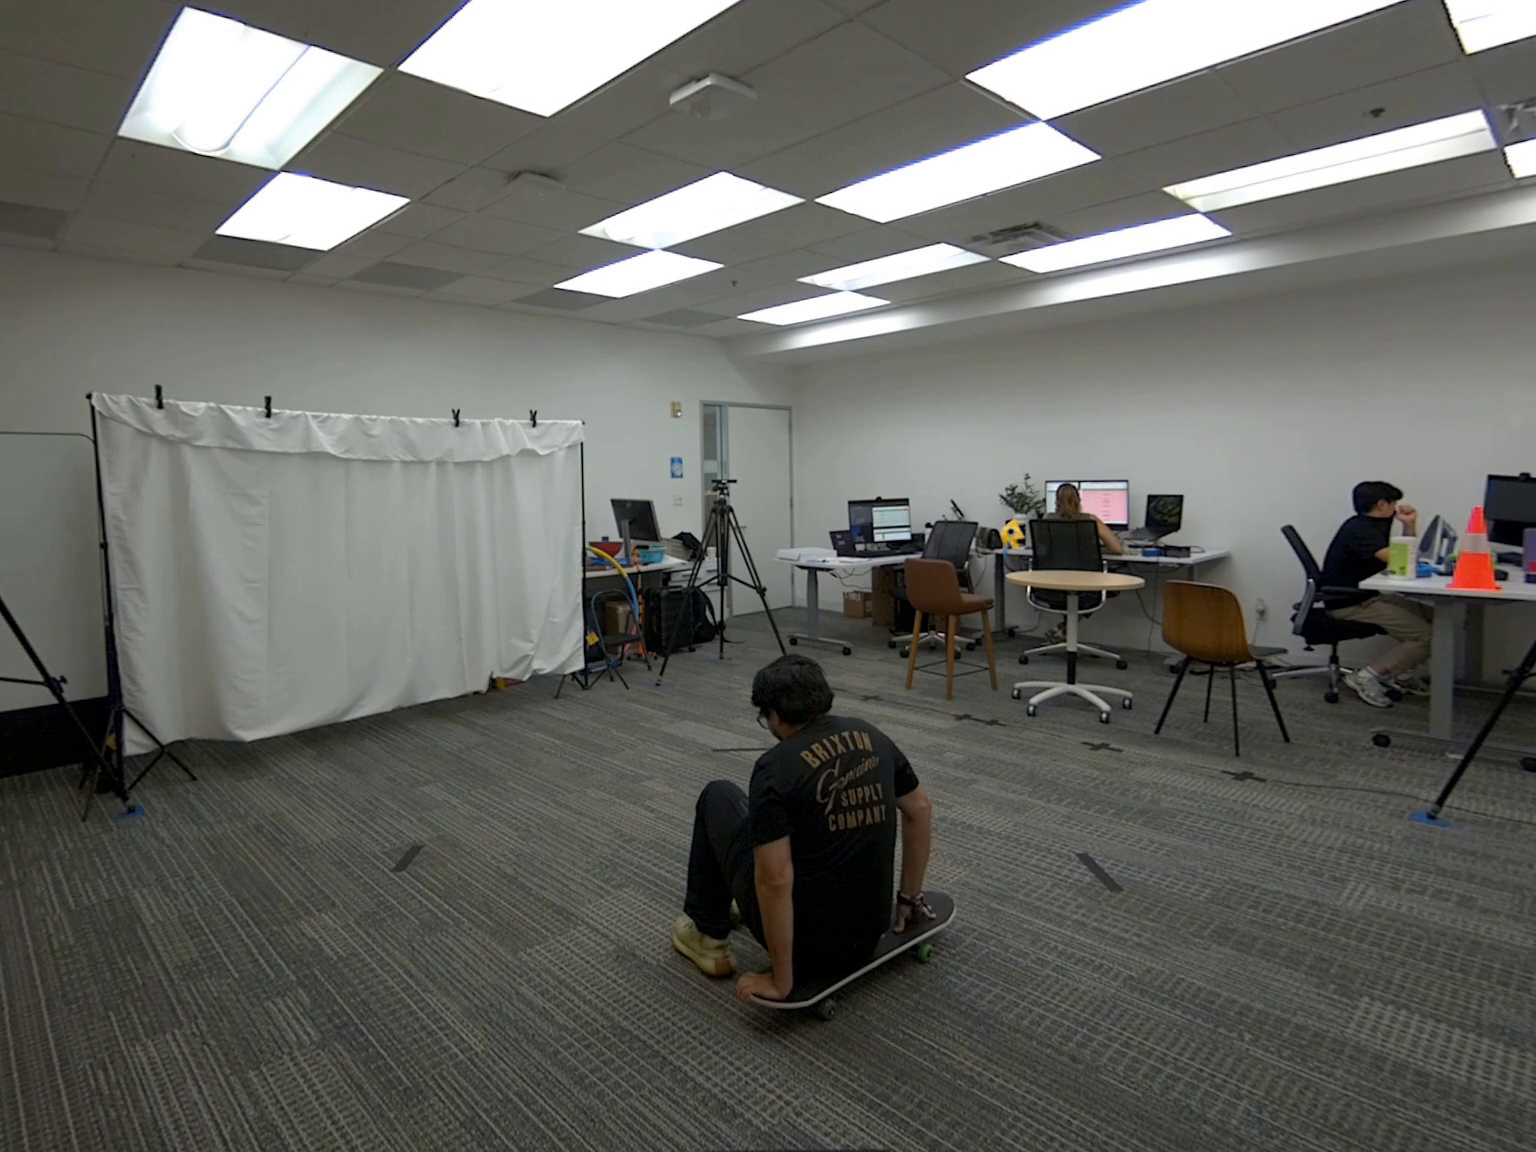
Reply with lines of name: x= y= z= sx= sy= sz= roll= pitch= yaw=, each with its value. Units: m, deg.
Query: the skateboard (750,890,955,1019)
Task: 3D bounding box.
skateboard: x=0.251 y=1.067 z=2.405 sx=0.766 sy=0.110 sz=0.199 roll=-7 pitch=7 yaw=-37
